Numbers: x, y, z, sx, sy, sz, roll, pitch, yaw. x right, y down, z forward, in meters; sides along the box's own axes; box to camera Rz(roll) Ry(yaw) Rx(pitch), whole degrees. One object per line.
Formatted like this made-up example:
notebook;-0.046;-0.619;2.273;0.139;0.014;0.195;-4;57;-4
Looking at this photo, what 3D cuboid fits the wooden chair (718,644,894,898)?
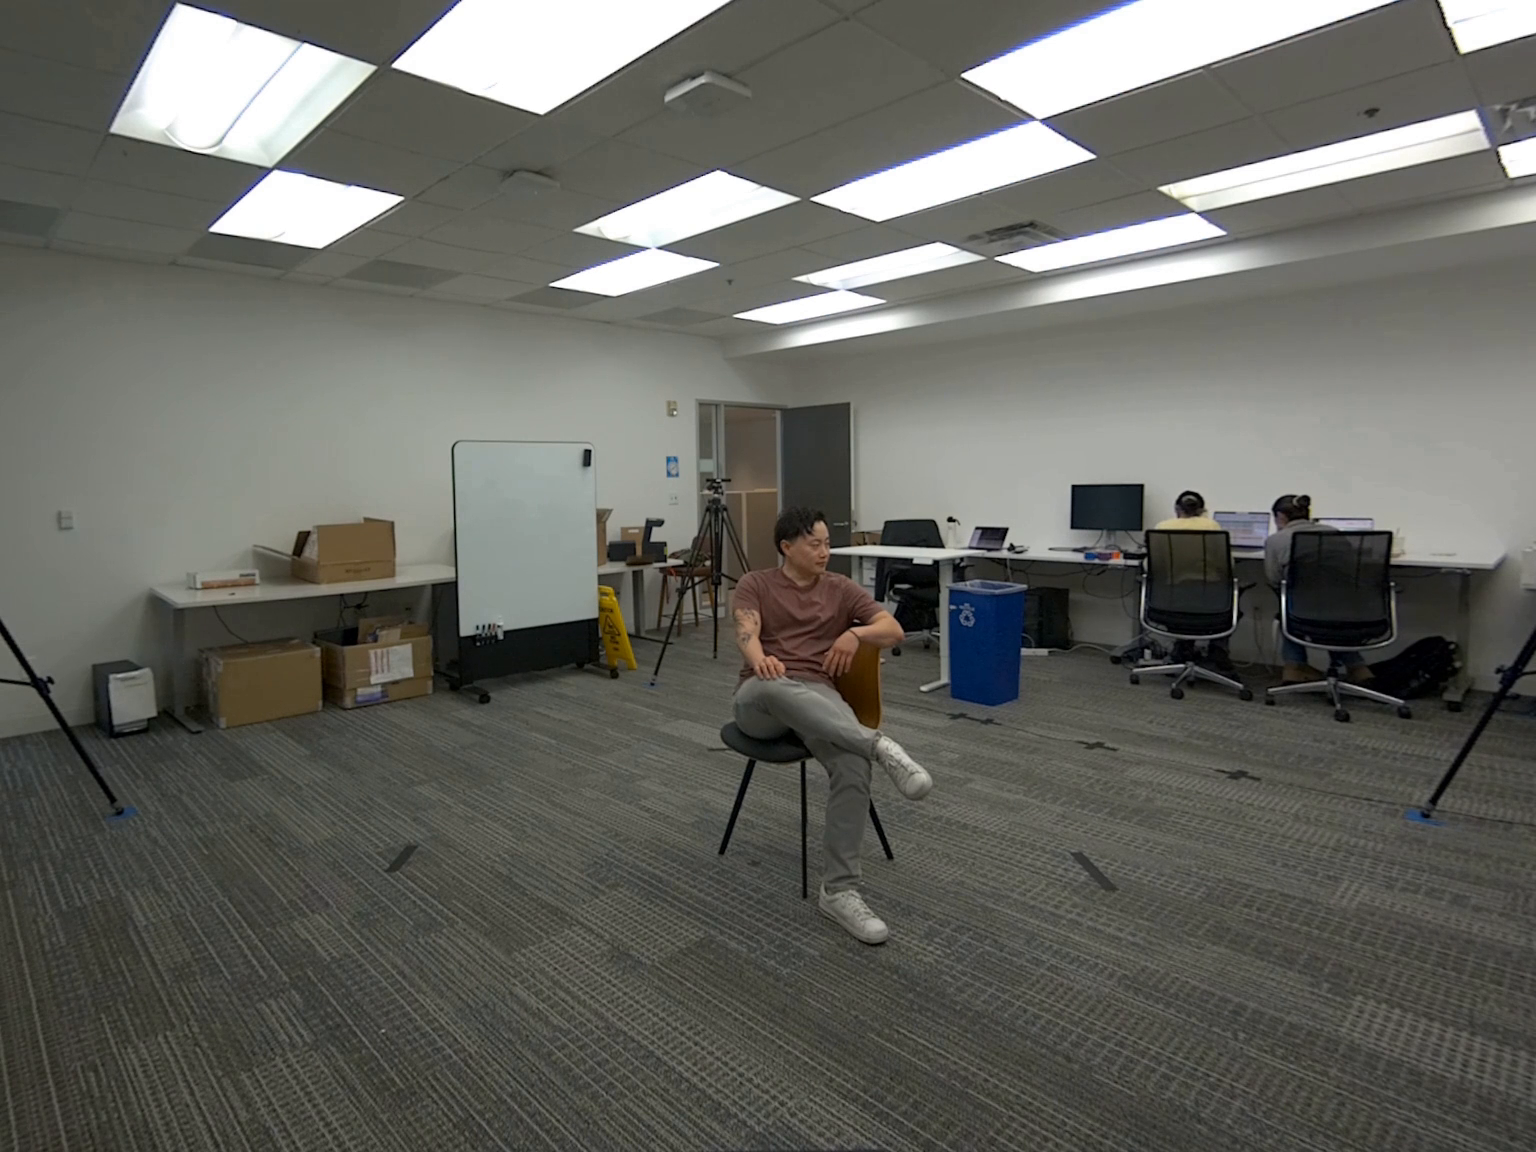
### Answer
wooden chair;0.124;0.613;3.116;0.508;0.877;0.492;1;2;-41
